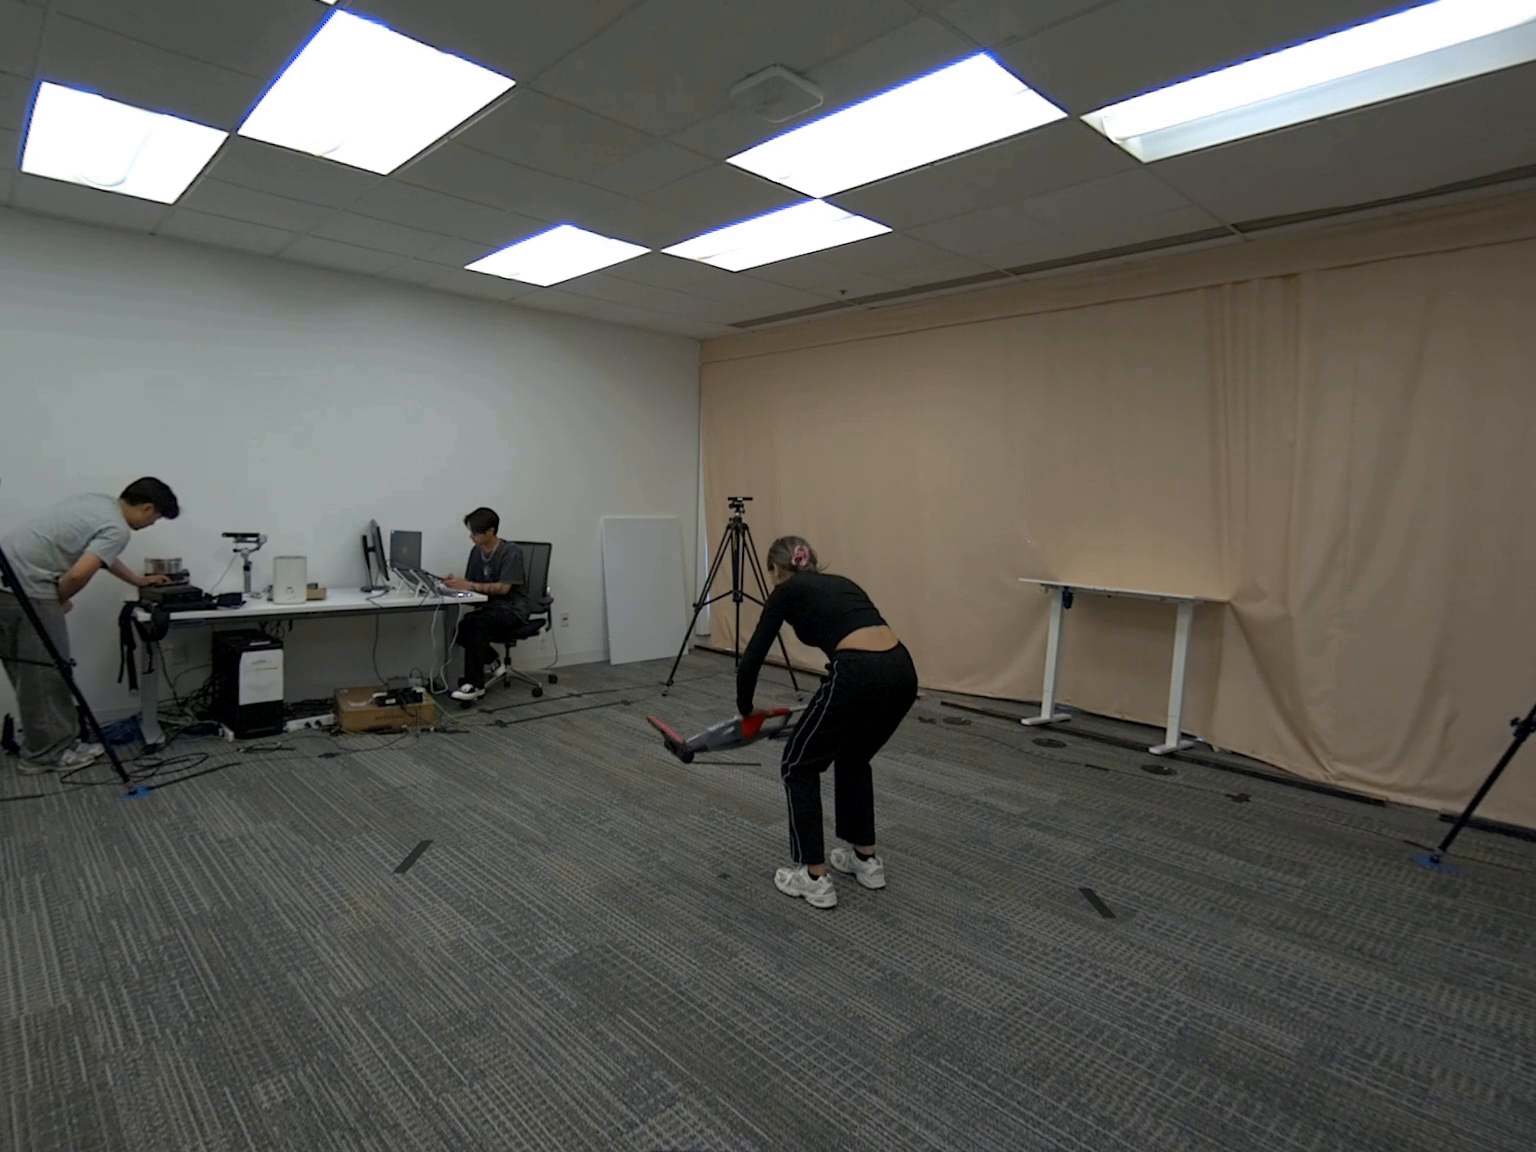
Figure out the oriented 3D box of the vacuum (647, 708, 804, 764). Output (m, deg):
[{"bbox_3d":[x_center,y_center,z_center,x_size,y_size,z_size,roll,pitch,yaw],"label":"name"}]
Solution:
[{"bbox_3d":[0.057,0.565,3.274,1.027,0.143,0.260,-3,15,-36],"label":"vacuum"}]
